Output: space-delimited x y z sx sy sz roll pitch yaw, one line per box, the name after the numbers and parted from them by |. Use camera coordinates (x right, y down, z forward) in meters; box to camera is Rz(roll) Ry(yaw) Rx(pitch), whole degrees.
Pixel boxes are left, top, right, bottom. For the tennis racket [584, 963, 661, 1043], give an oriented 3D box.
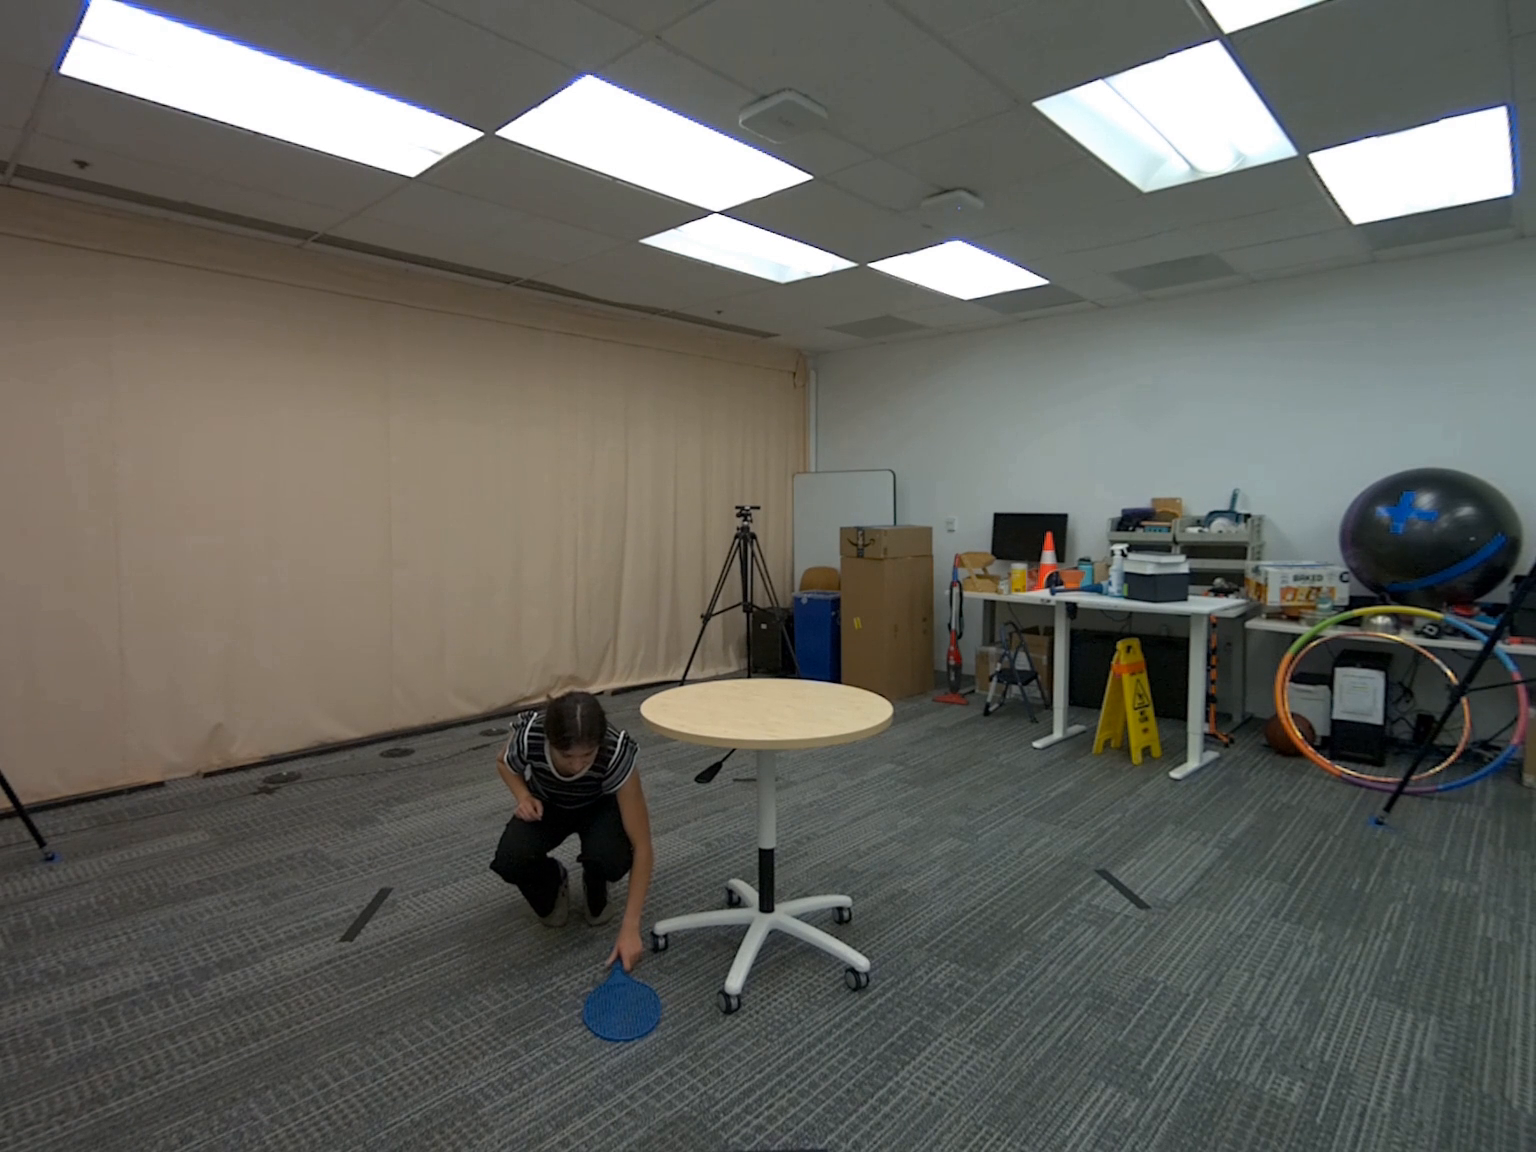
-0.392 1.160 2.414 0.211 0.031 0.439 -2 6 -11 | tennis racket
